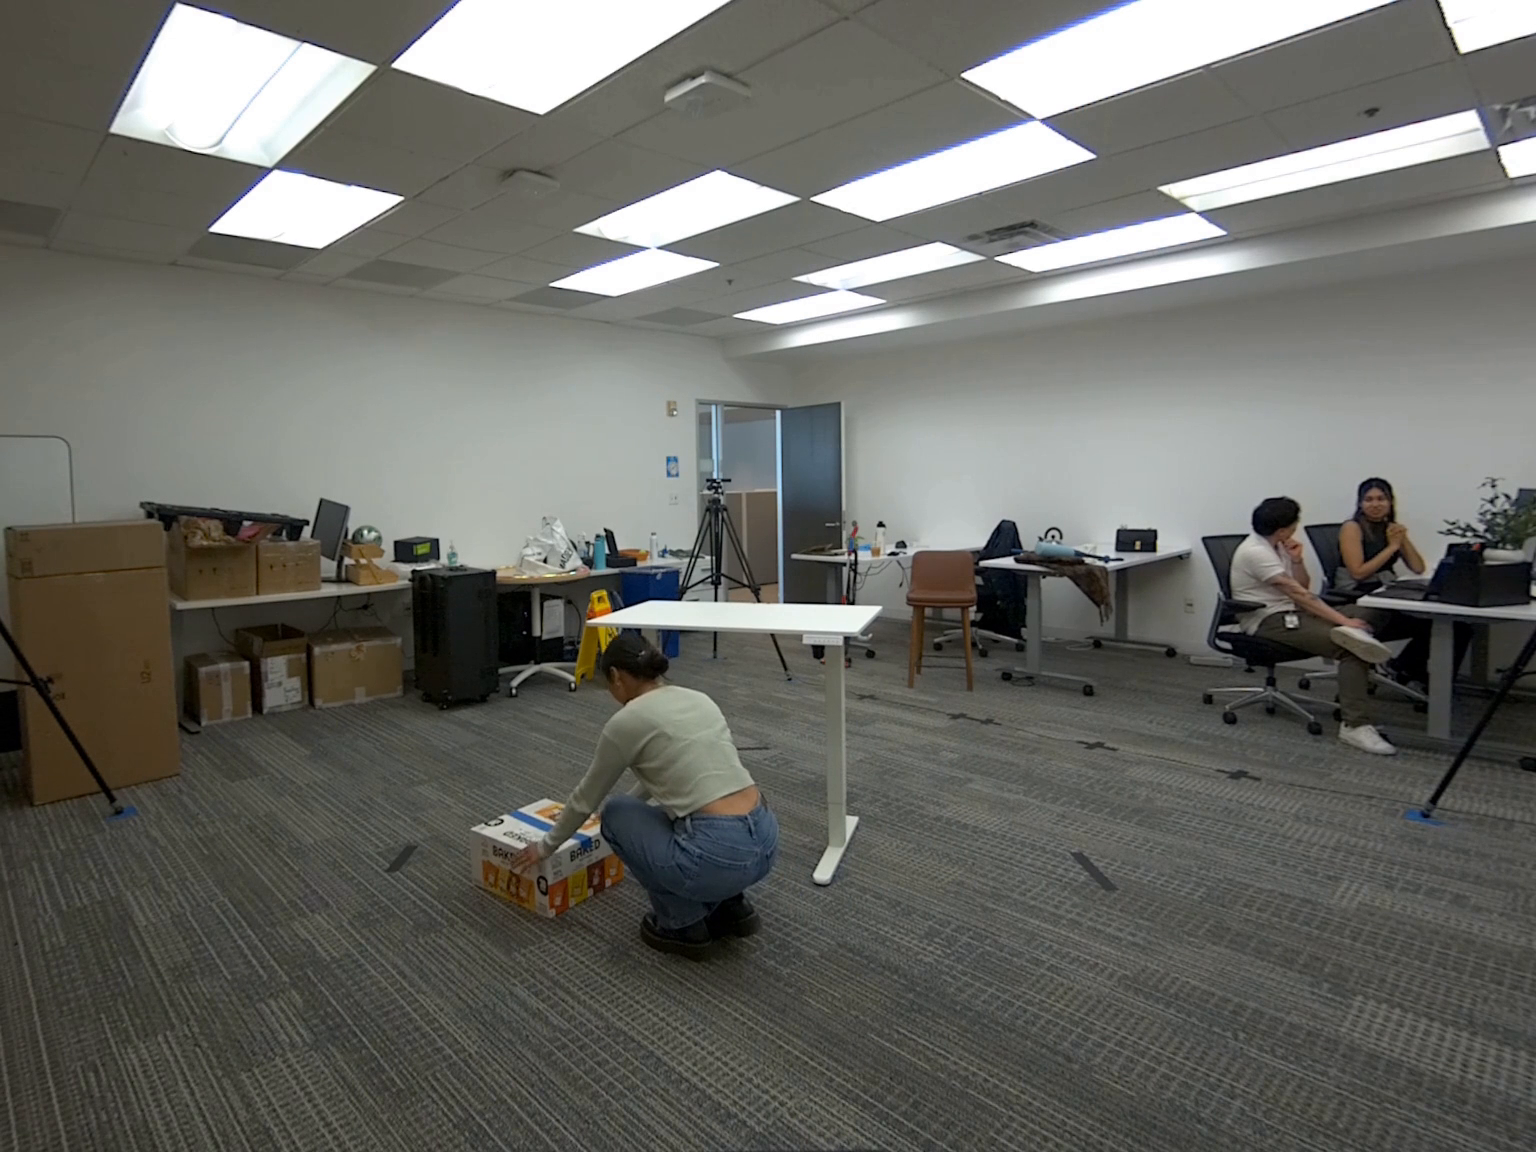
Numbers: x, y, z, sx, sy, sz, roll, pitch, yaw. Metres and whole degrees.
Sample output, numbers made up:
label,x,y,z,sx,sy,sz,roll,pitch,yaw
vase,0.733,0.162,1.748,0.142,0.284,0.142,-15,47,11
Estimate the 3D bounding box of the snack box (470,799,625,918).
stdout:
label,x,y,z,sx,sy,sz,roll,pitch,yaw
snack box,-0.771,0.972,2.982,0.417,0.205,0.332,3,7,37
